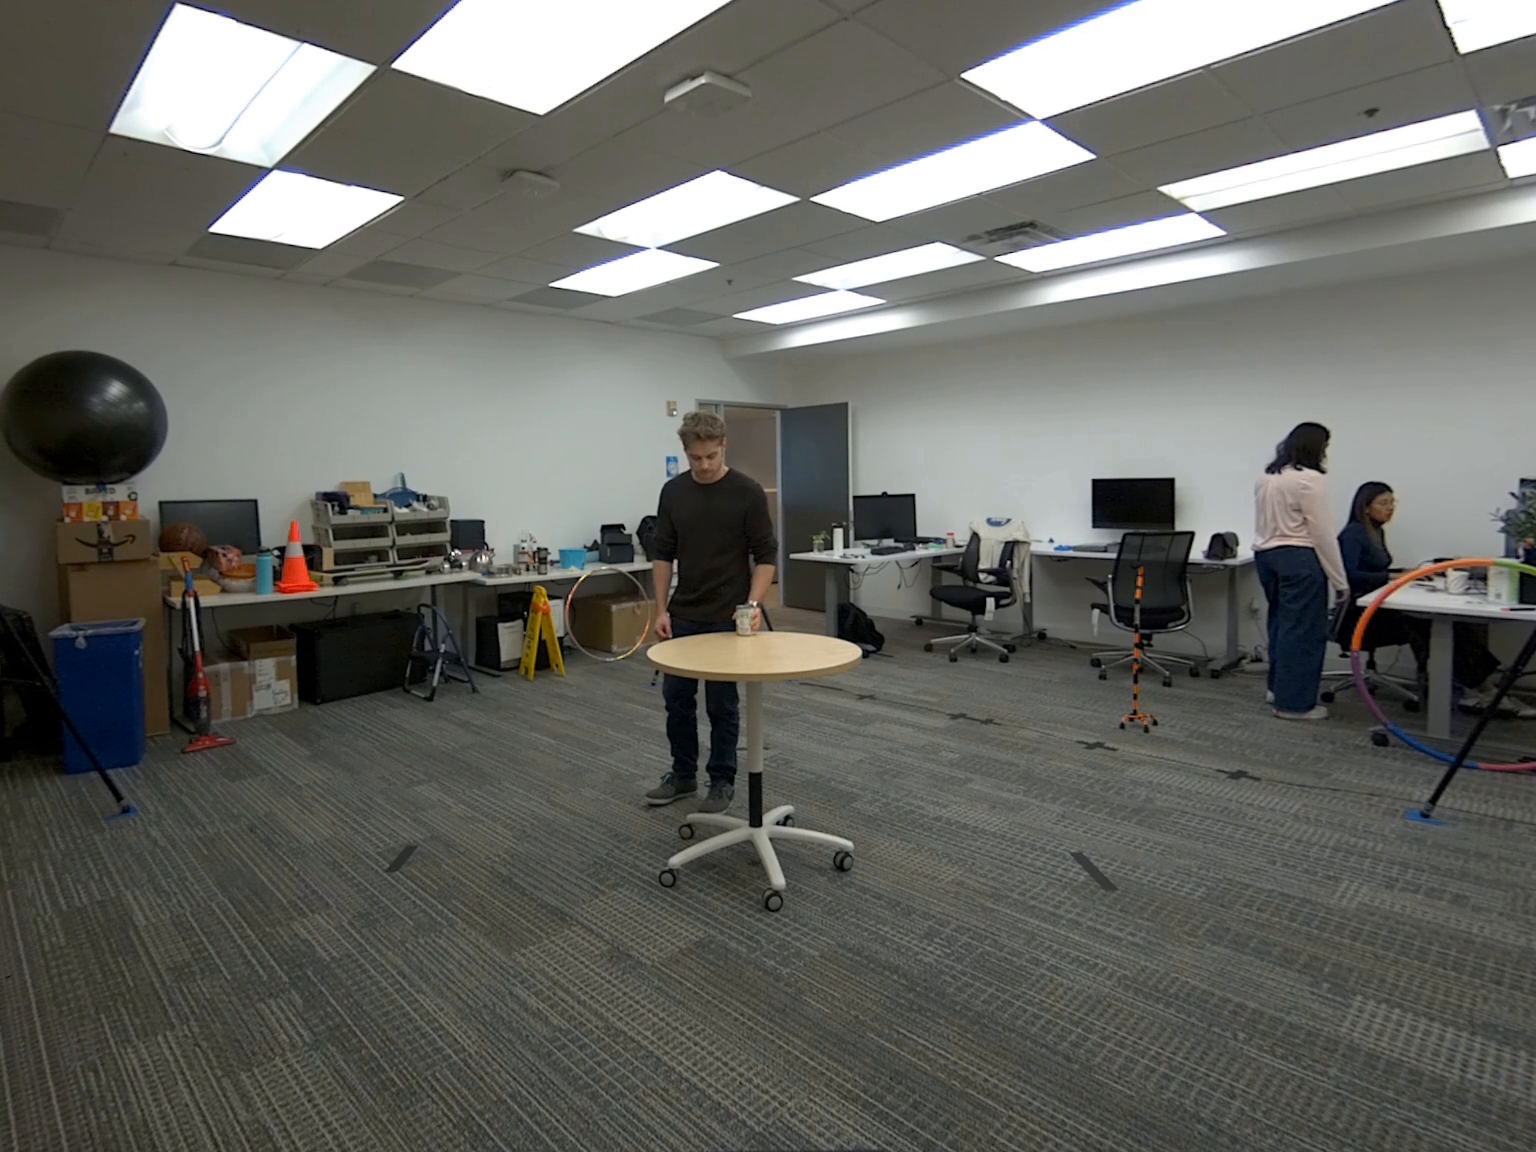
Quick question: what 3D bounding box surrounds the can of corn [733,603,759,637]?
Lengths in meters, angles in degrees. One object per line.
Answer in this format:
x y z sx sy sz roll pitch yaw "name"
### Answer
-0.093 0.176 3.368 0.074 0.110 0.074 -1 5 -2 "can of corn"
